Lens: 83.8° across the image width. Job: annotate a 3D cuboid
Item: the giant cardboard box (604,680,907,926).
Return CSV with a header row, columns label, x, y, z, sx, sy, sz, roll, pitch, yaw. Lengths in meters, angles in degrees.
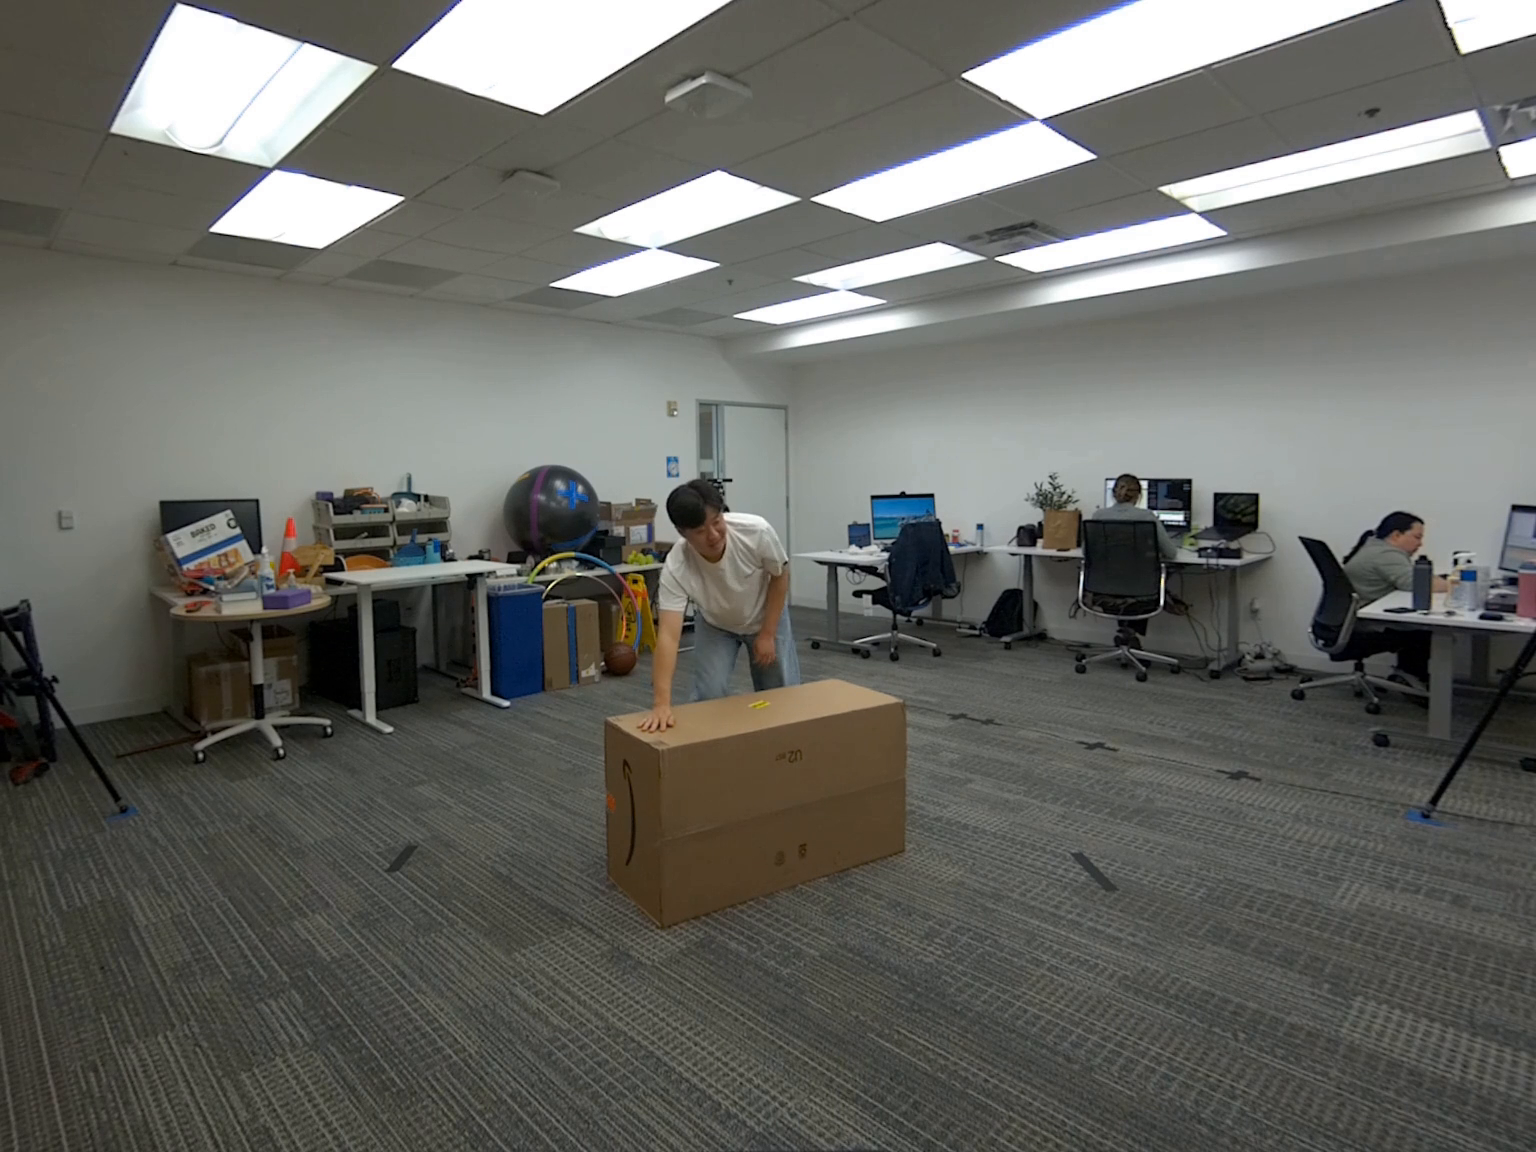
label,x,y,z,sx,sy,sz,roll,pitch,yaw
giant cardboard box,-0.031,0.763,3.078,1.001,0.575,0.438,-4,6,-31
